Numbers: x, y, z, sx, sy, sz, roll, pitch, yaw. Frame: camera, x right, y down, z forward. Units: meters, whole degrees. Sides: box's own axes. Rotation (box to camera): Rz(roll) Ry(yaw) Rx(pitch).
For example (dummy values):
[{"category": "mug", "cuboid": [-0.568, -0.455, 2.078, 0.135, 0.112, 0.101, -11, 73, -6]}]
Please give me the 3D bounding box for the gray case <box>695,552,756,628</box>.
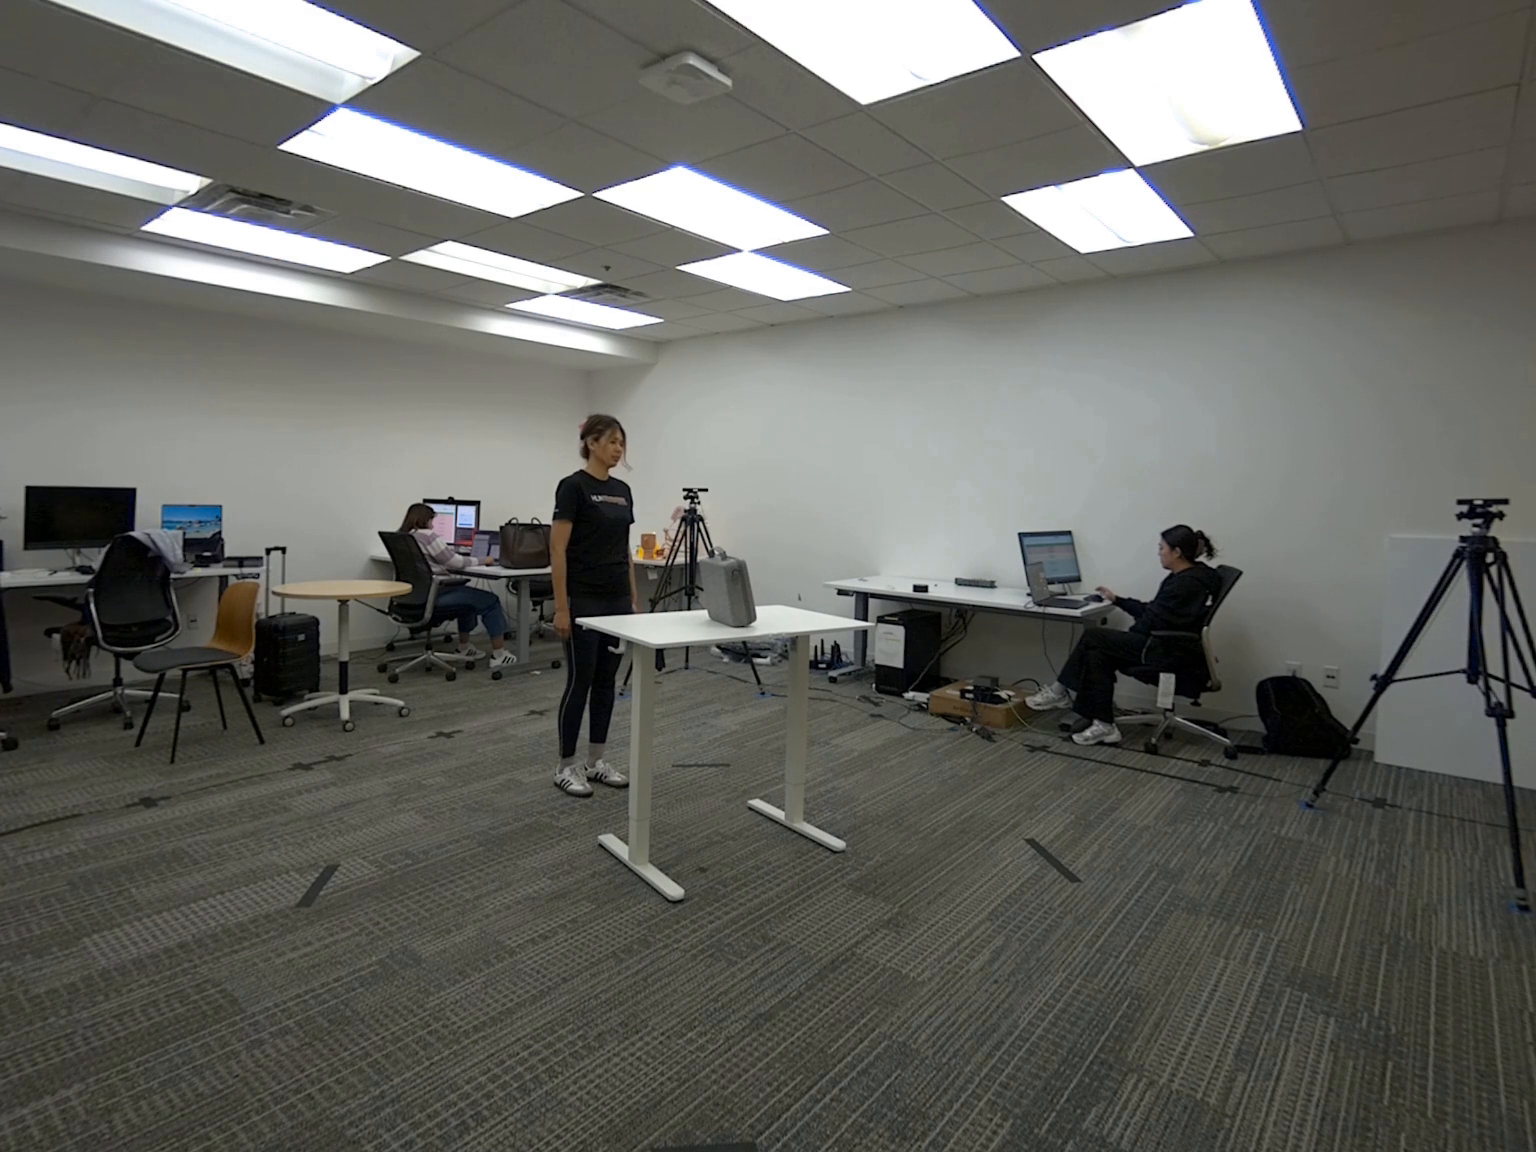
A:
[{"category": "gray case", "cuboid": [-0.164, 0.047, 3.219, 0.102, 0.259, 0.264, -10, 8, -24]}]
